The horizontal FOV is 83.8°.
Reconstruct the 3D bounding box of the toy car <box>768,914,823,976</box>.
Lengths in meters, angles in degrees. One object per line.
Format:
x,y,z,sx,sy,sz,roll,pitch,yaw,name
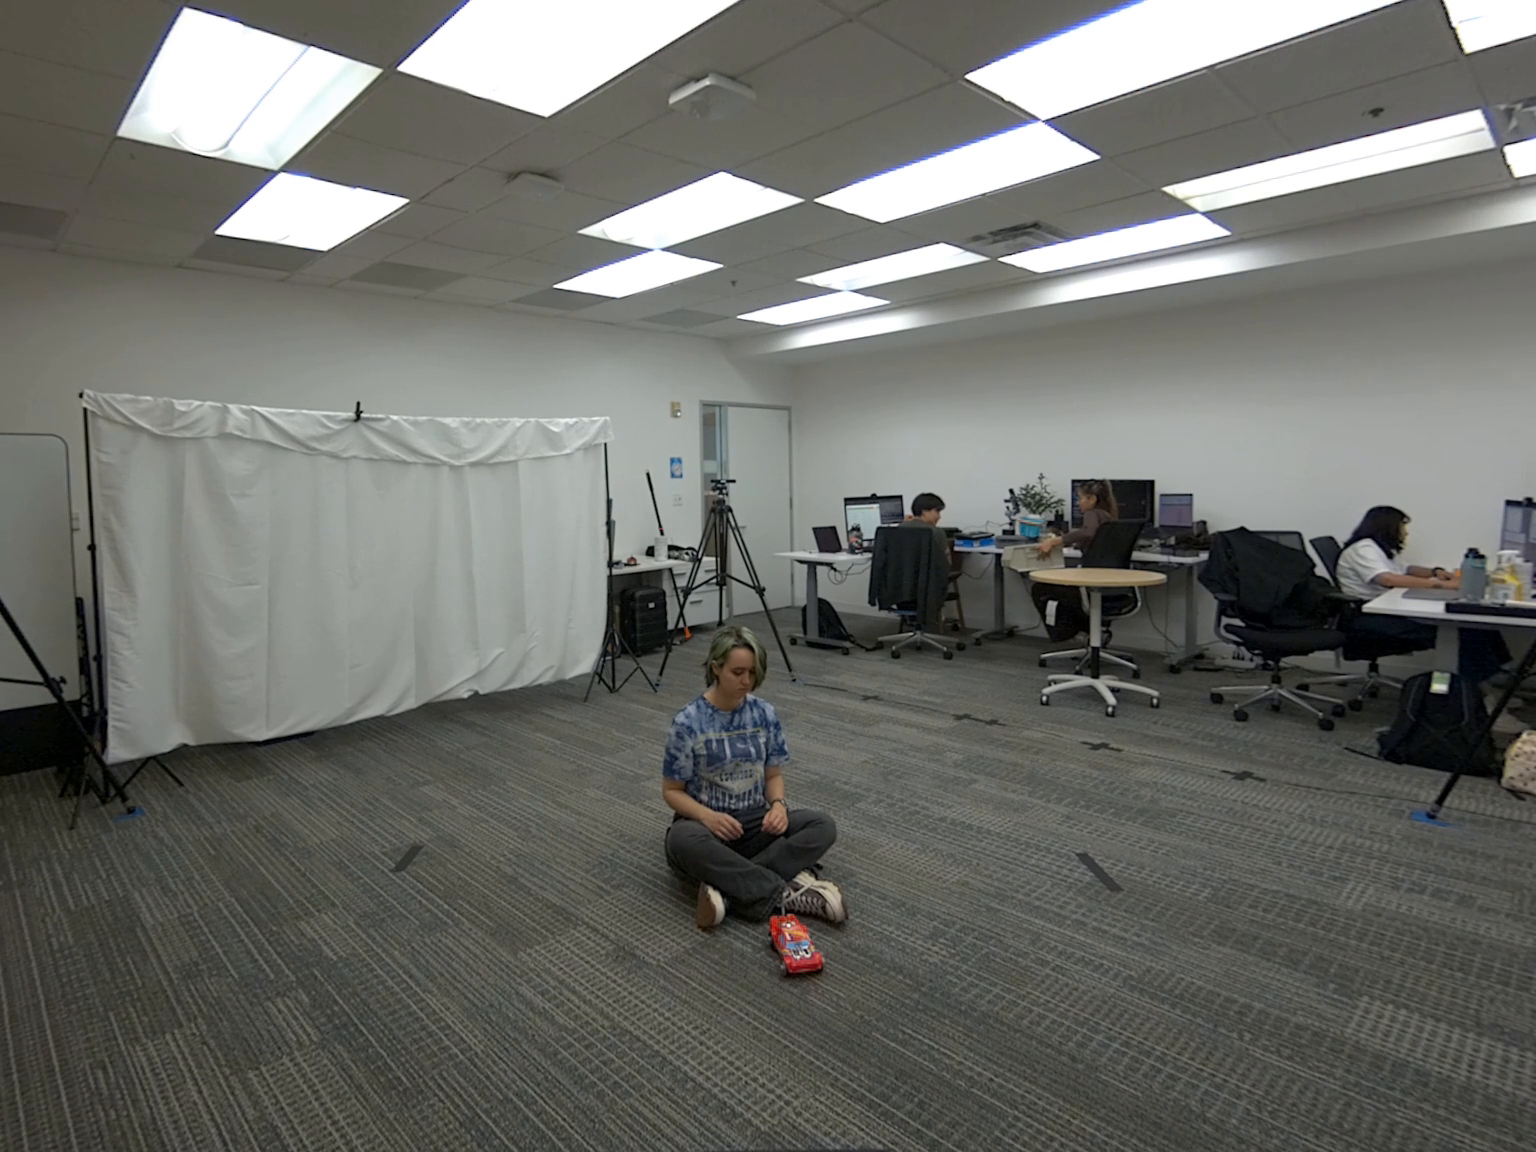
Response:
0.074,1.084,2.506,0.129,0.082,0.261,-4,17,-13,toy car
